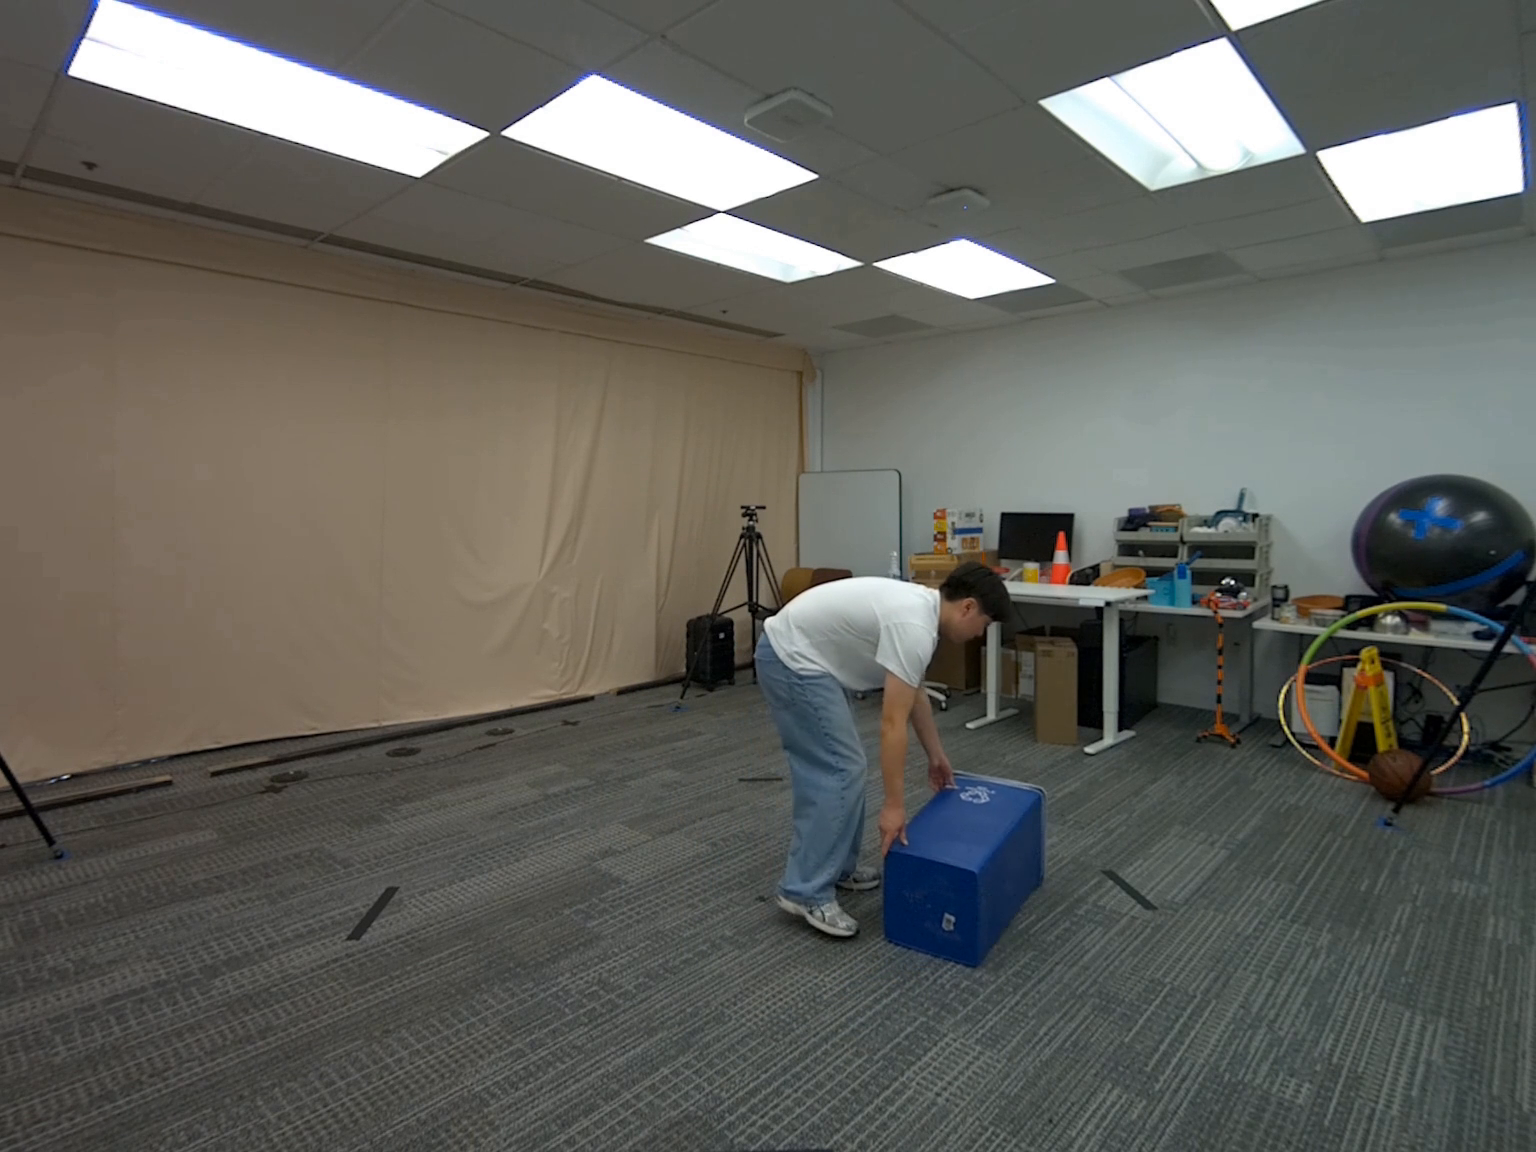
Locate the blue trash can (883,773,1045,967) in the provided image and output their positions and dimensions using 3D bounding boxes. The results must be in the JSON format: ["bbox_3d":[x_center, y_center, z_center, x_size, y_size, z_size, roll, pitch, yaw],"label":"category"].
[{"bbox_3d":[0.689,0.986,2.876,0.385,0.376,0.696,3,8,31],"label":"blue trash can"}]
